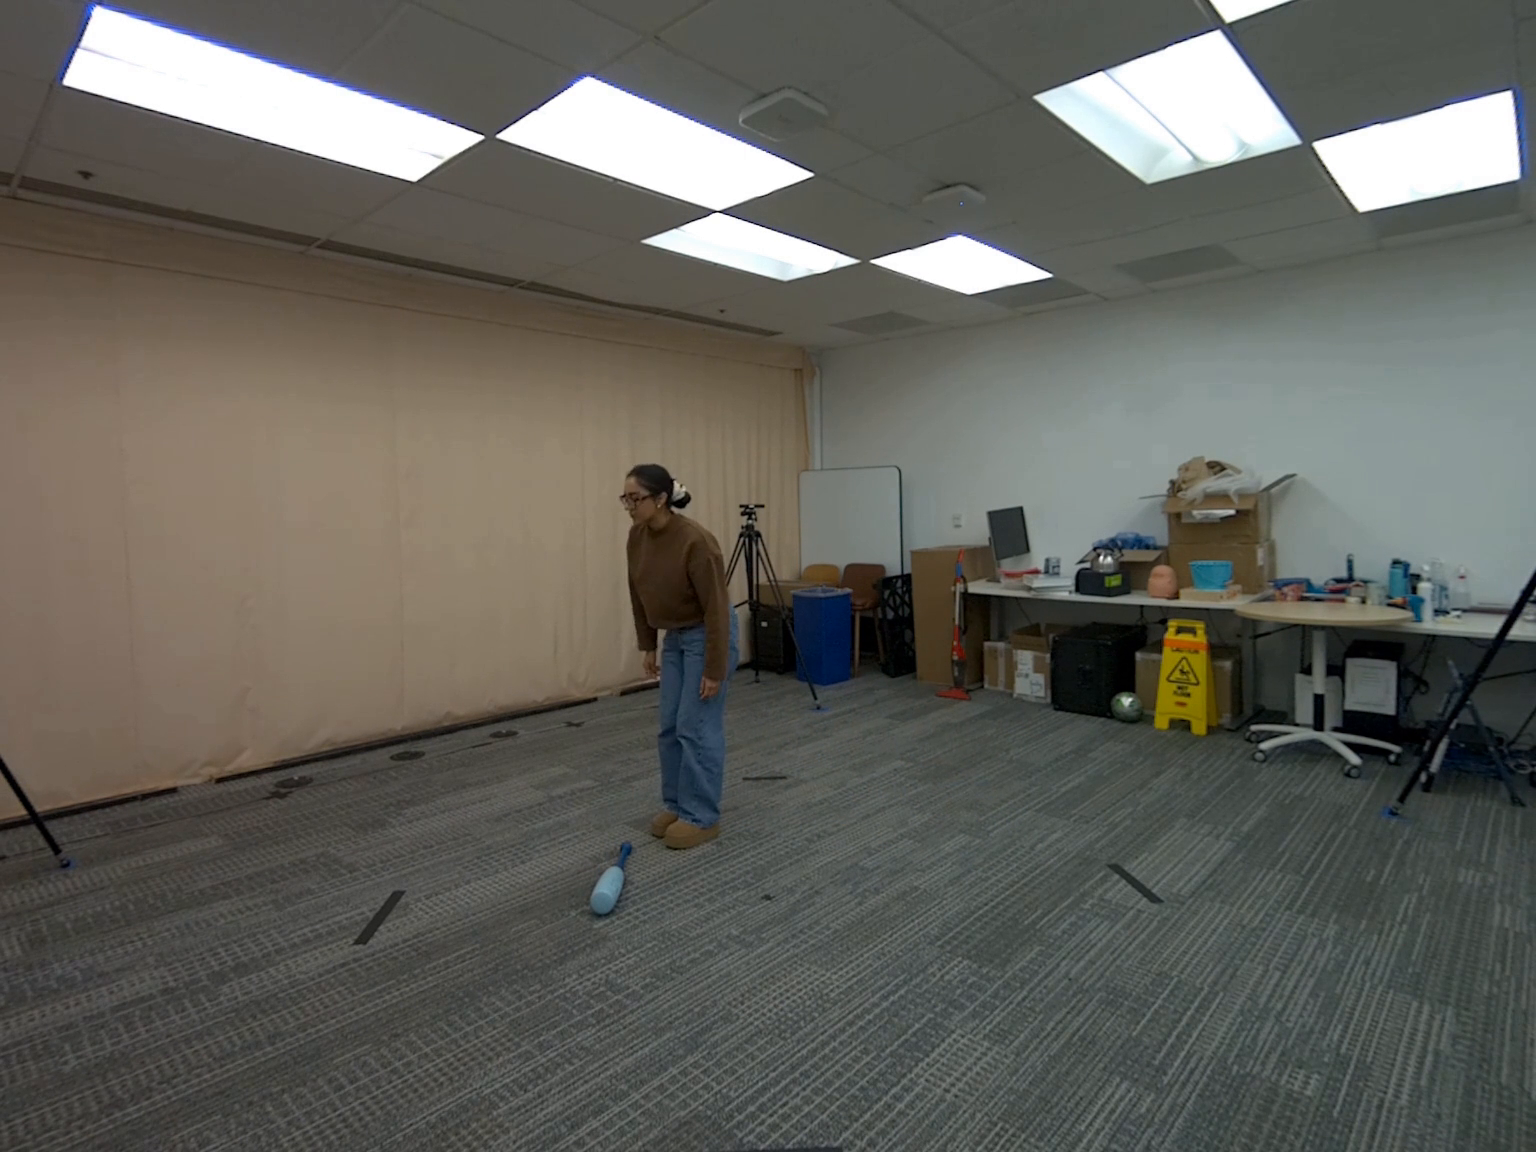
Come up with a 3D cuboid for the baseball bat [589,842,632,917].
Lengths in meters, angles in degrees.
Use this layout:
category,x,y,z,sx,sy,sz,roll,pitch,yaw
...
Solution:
category,x,y,z,sx,sy,sz,roll,pitch,yaw
baseball bat,-0.565,1.104,3.120,0.089,0.089,0.543,-1,3,-1
